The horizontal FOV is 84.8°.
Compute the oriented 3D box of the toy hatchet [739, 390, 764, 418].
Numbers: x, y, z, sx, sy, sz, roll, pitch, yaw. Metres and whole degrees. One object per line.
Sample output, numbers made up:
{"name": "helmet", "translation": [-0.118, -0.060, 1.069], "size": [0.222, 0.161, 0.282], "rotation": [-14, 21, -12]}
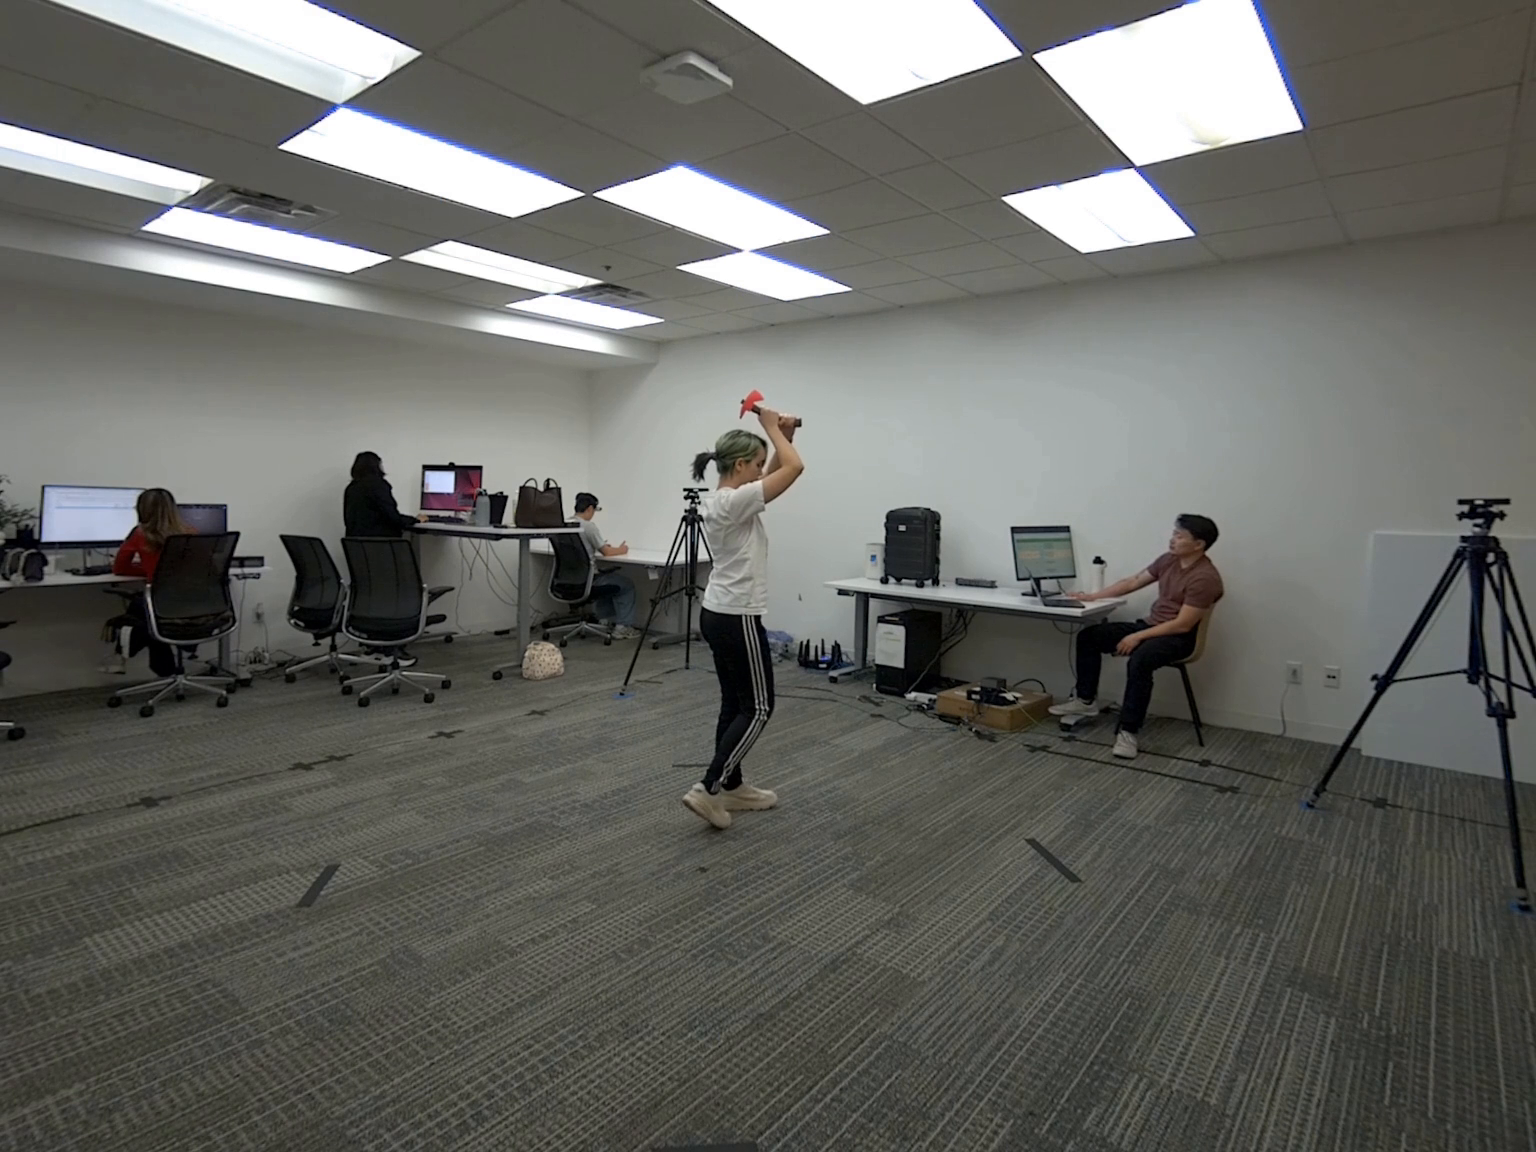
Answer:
{"name": "toy hatchet", "translation": [0.011, -0.721, 3.610], "size": [0.269, 0.131, 0.029], "rotation": [6, 1, -1]}
